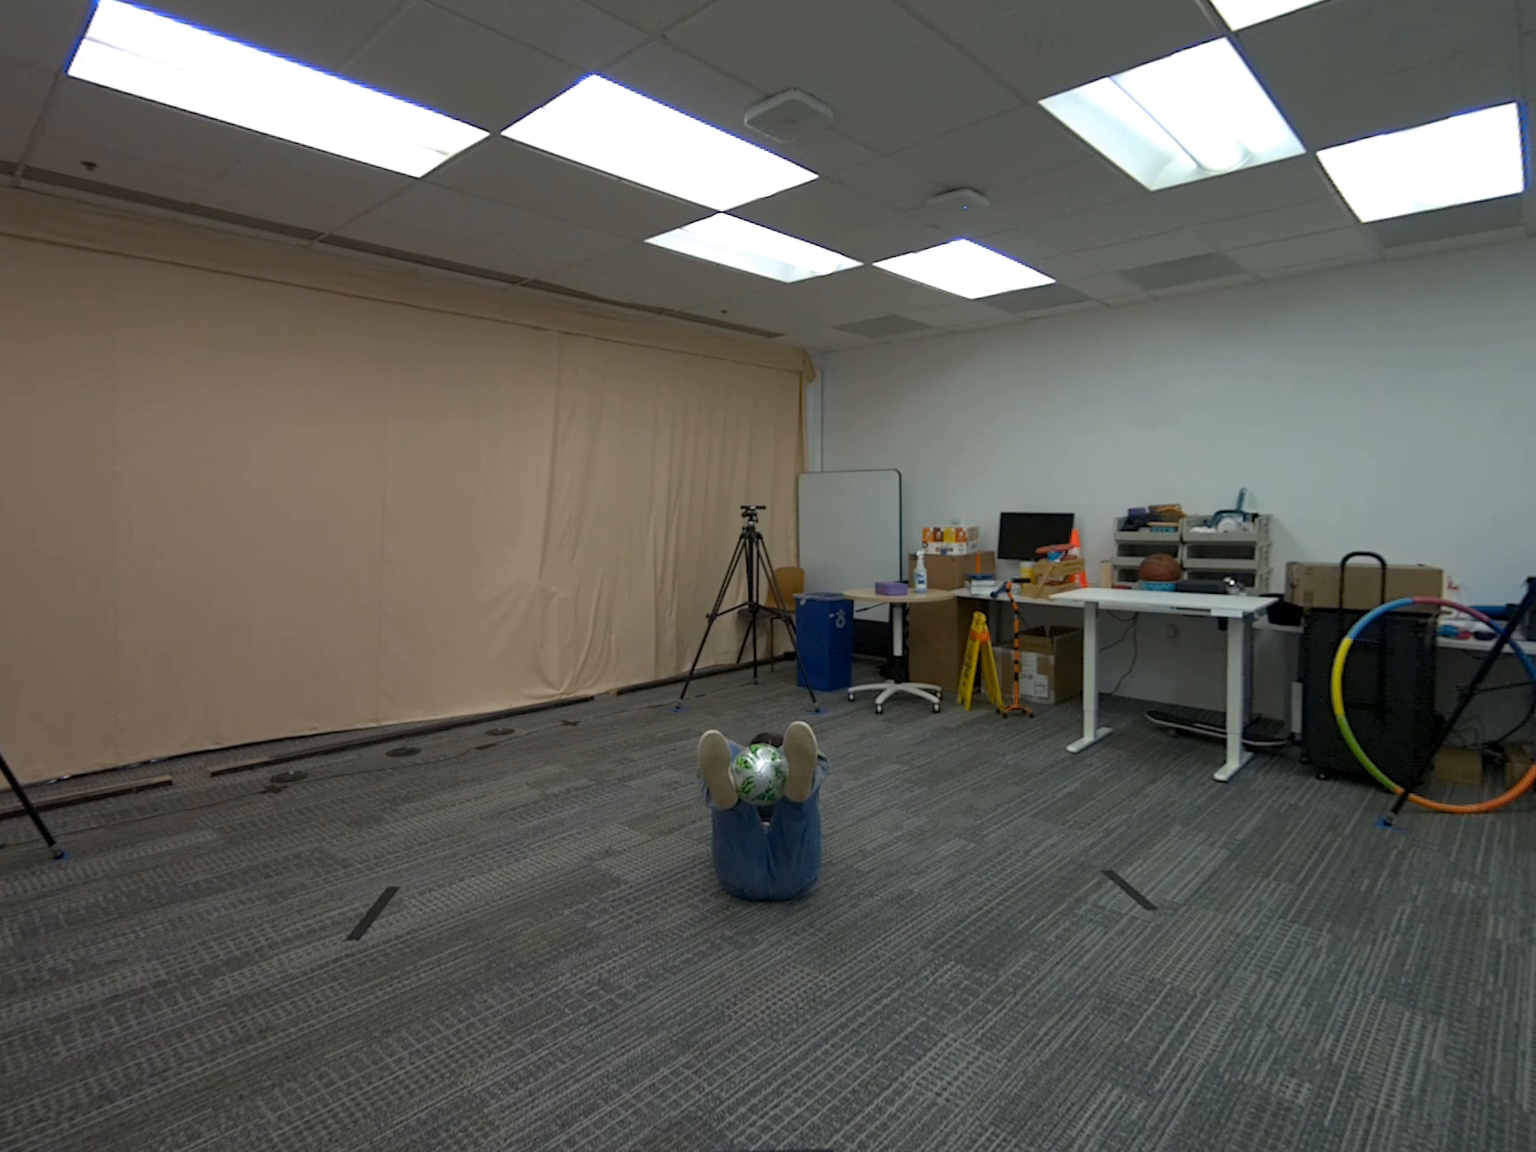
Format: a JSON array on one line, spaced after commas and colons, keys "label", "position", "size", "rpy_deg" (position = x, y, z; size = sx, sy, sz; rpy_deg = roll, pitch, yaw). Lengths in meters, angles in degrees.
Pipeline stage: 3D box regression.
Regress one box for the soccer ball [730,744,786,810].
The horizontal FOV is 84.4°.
[{"label": "soccer ball", "position": [-0.015, 0.622, 2.599], "size": [0.187, 0.187, 0.188], "rpy_deg": [3, 4, -2]}]
